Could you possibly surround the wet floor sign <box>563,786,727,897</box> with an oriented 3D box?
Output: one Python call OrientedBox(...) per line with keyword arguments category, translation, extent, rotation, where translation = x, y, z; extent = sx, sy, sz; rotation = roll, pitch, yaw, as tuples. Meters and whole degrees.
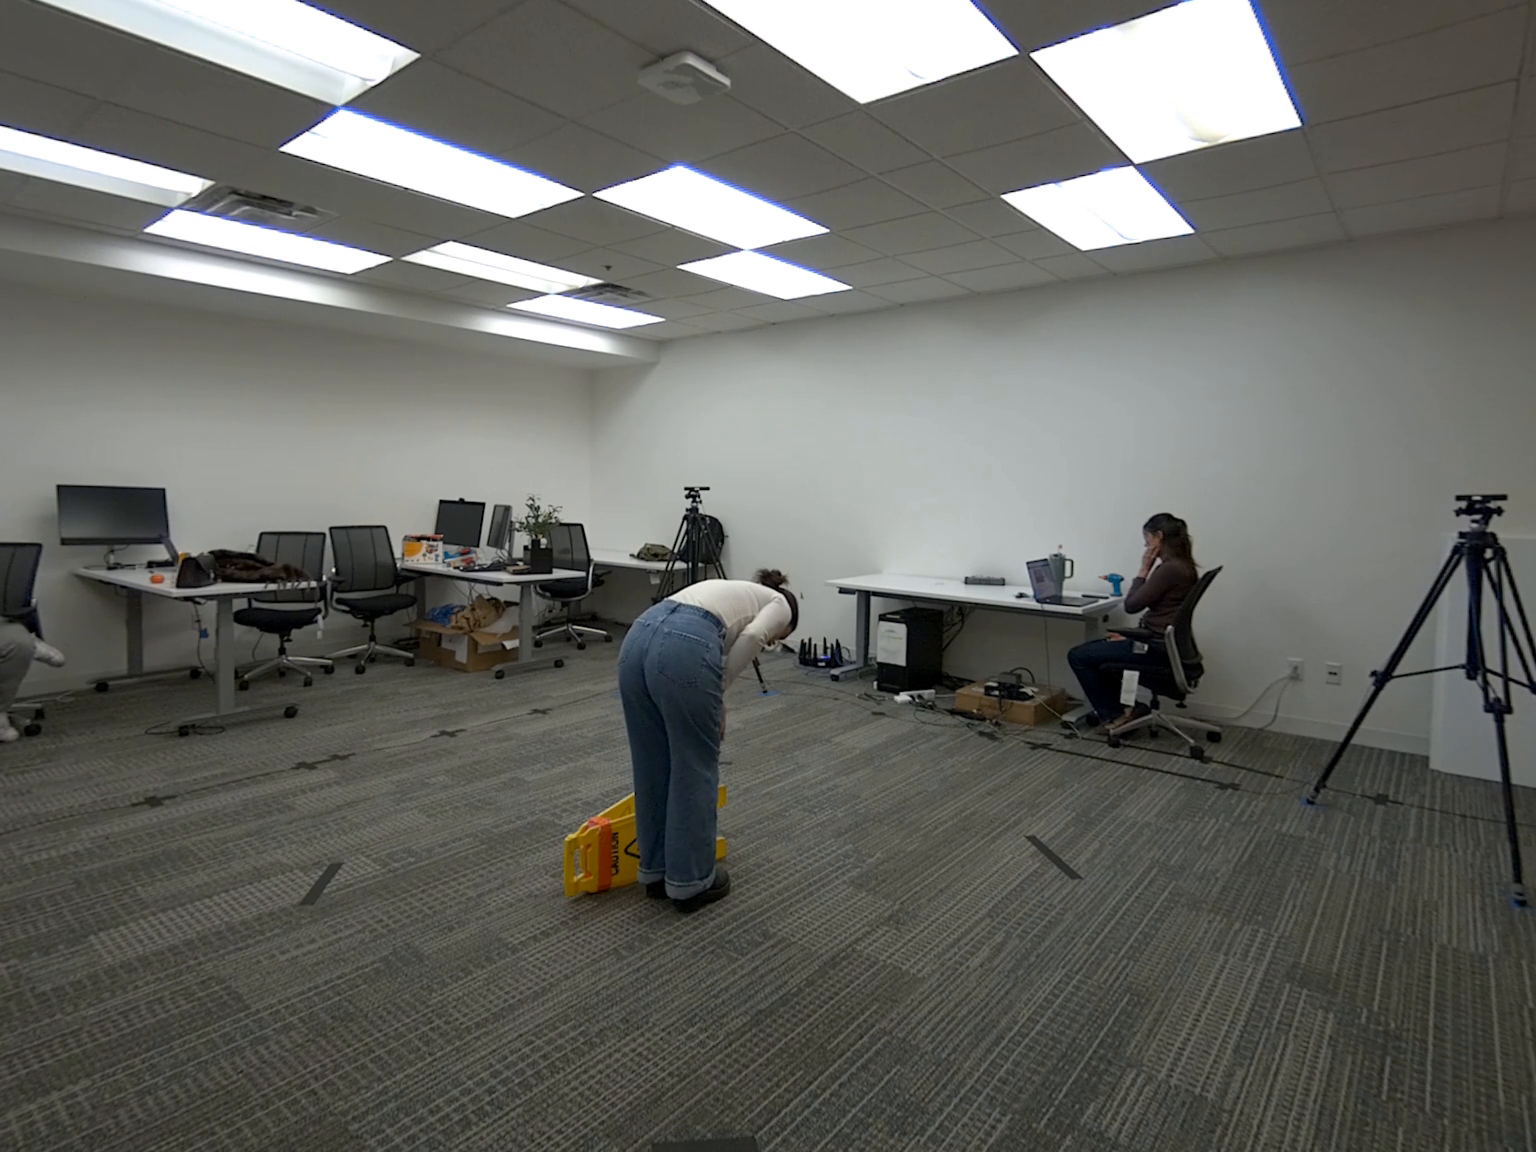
OrientedBox(category="wet floor sign", translation=(-0.472, 0.937, 3.051), extent=(0.299, 0.281, 0.628), rotation=(3, 7, 41))
